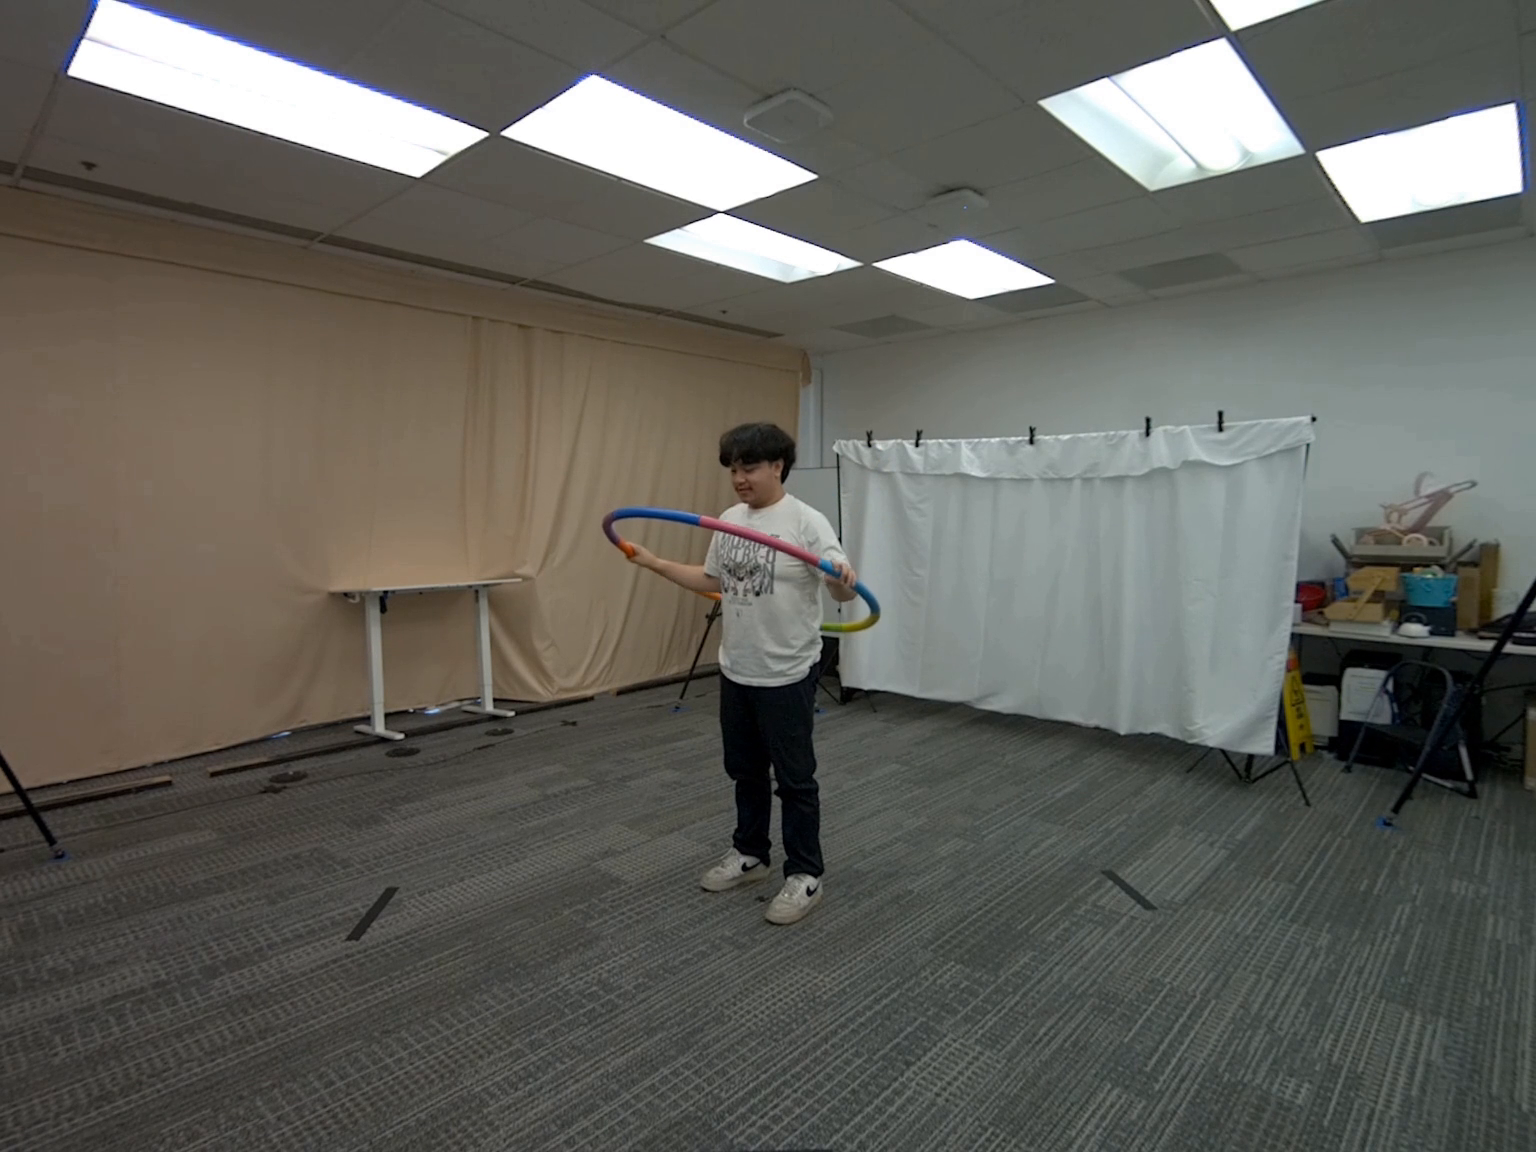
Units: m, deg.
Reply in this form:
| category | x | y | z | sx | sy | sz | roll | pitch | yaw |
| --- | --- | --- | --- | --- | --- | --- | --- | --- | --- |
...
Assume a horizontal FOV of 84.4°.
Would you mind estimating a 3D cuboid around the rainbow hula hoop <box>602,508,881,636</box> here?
| category | x | y | z | sx | sy | sz | roll | pitch | yaw |
| --- | --- | --- | --- | --- | --- | --- | --- | --- | --- |
| rainbow hula hoop | -0.100 | -0.004 | 2.876 | 0.991 | 0.052 | 0.978 | 19 | -14 | 3 |
